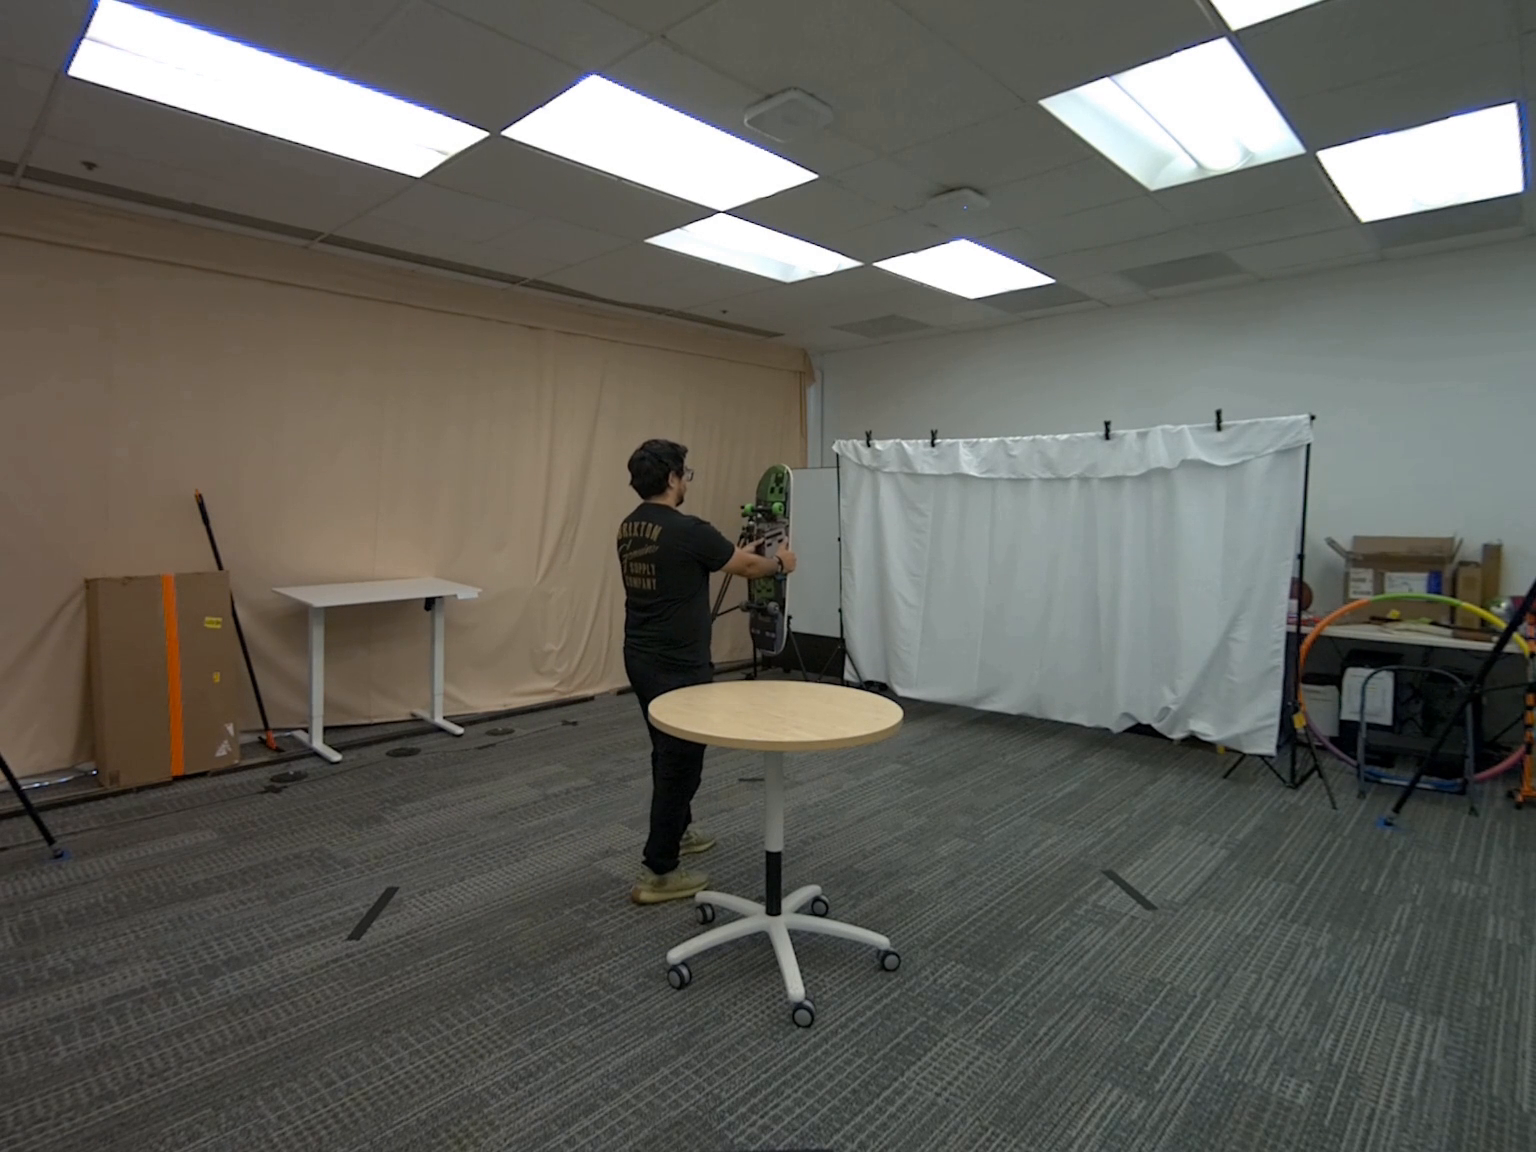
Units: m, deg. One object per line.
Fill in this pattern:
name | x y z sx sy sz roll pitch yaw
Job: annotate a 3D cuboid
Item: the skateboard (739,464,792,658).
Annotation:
skateboard | -0.005 -0.070 3.439 0.200 0.787 0.106 1 -4 43
